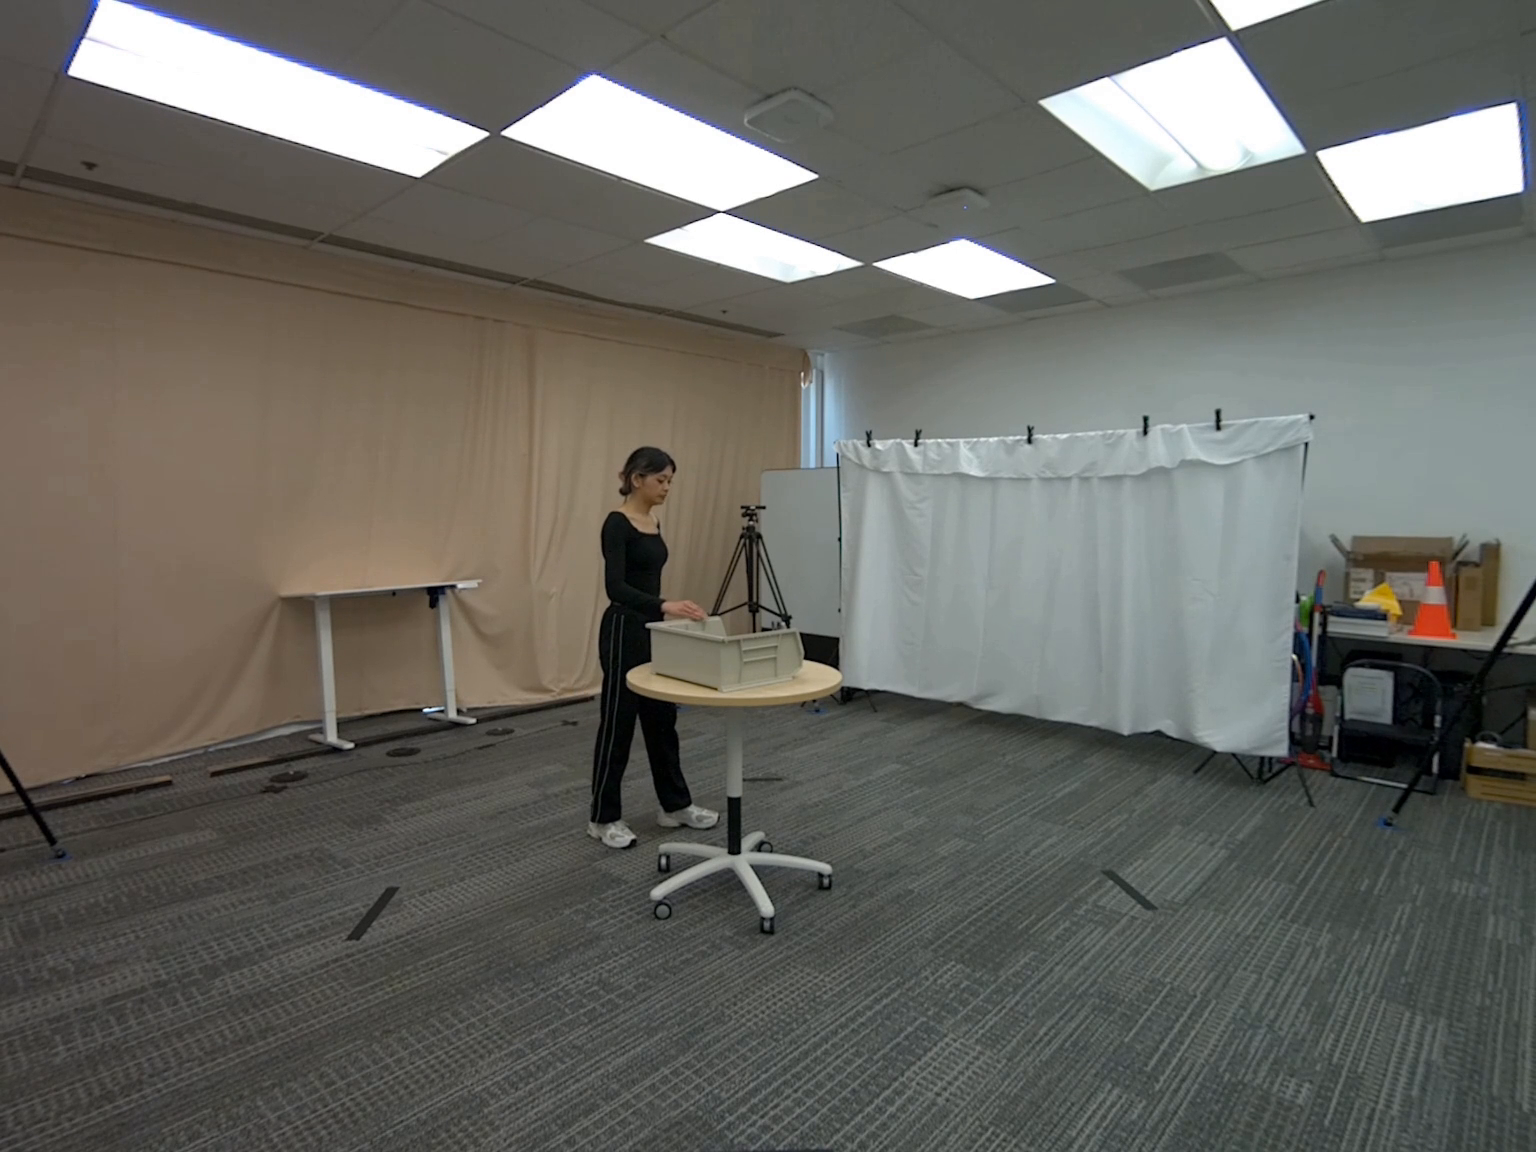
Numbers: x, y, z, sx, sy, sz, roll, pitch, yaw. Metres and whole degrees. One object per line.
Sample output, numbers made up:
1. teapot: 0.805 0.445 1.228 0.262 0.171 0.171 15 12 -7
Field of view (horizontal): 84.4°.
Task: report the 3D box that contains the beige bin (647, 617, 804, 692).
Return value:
1. beige bin: -0.153 0.264 2.961 0.366 0.188 0.436 -5 8 -42
